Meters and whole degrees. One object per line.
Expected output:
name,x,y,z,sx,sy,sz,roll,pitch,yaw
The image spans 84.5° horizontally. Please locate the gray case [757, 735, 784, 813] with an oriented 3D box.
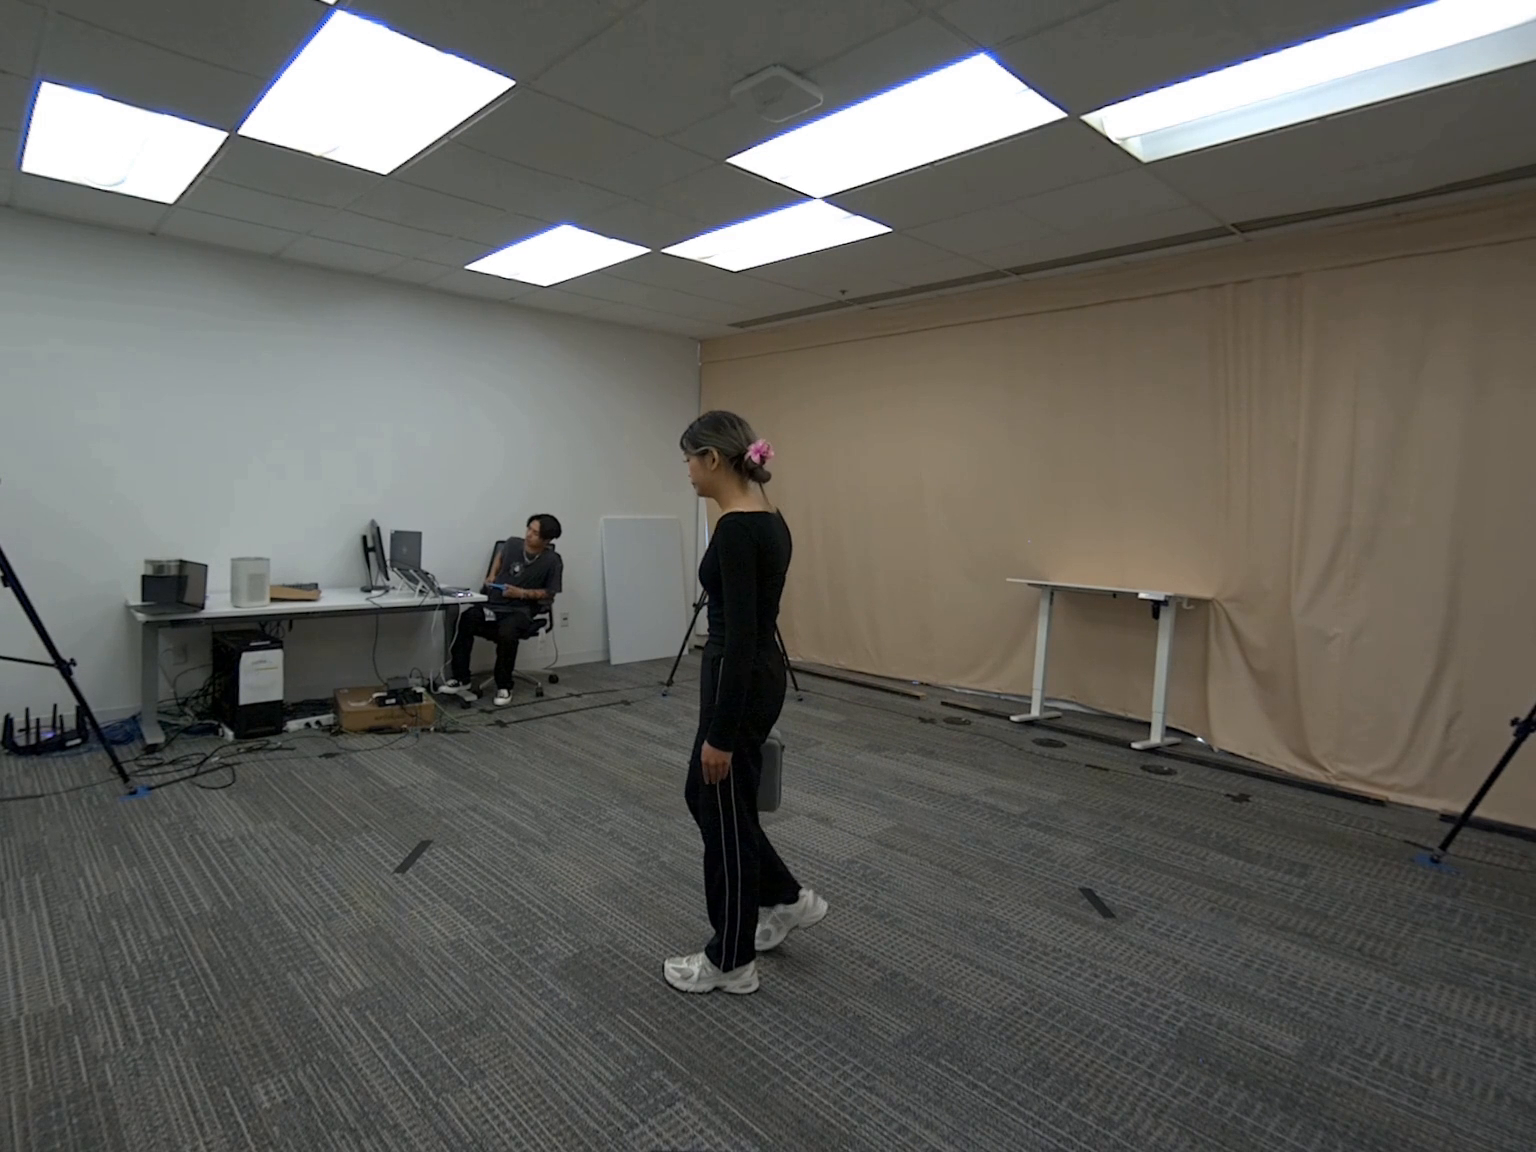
gray case,-0.087,0.606,2.646,0.258,0.258,0.104,2,10,6
